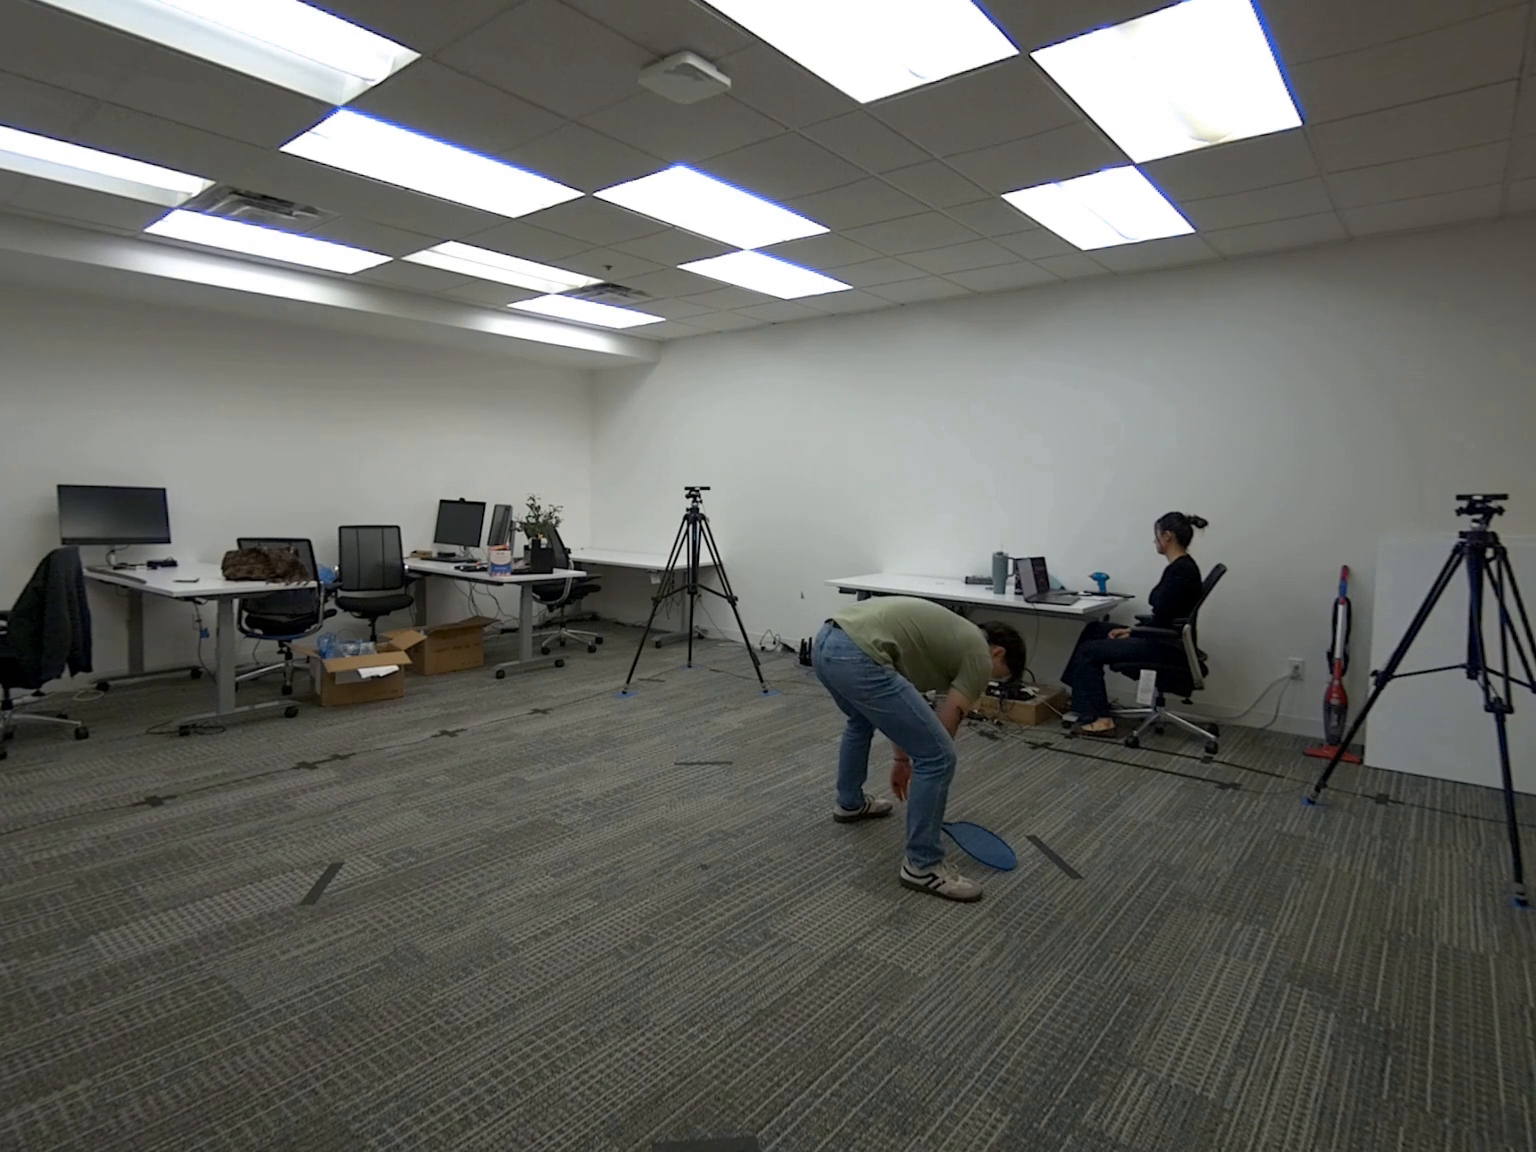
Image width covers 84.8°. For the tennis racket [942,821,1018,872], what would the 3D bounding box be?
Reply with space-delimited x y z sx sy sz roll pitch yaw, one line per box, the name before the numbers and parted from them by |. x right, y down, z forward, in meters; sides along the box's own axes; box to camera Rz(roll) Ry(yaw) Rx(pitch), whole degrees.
tennis racket | 0.743 0.984 3.216 0.435 0.031 0.214 24 21 4
